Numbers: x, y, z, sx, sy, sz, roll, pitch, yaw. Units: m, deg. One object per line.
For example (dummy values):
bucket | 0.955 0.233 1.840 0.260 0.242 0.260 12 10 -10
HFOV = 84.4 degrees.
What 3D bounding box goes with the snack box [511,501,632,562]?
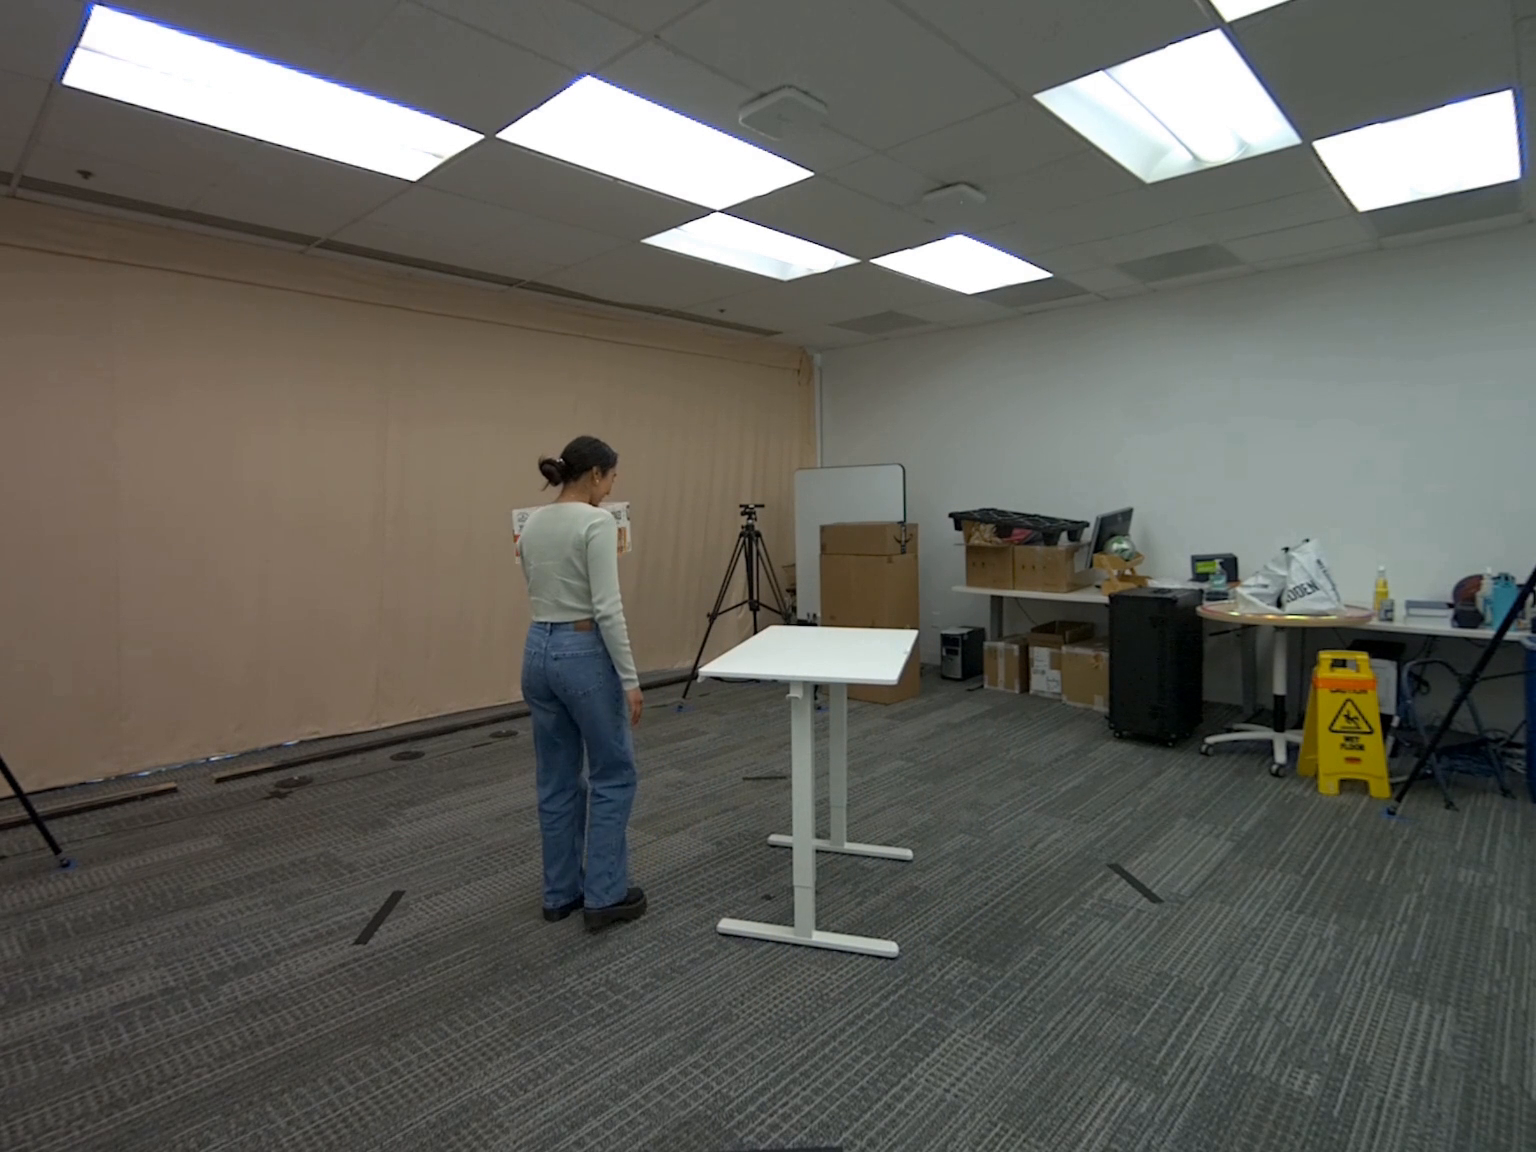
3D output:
snack box | -0.741 -0.171 3.234 0.343 0.205 0.404 -1 6 5
